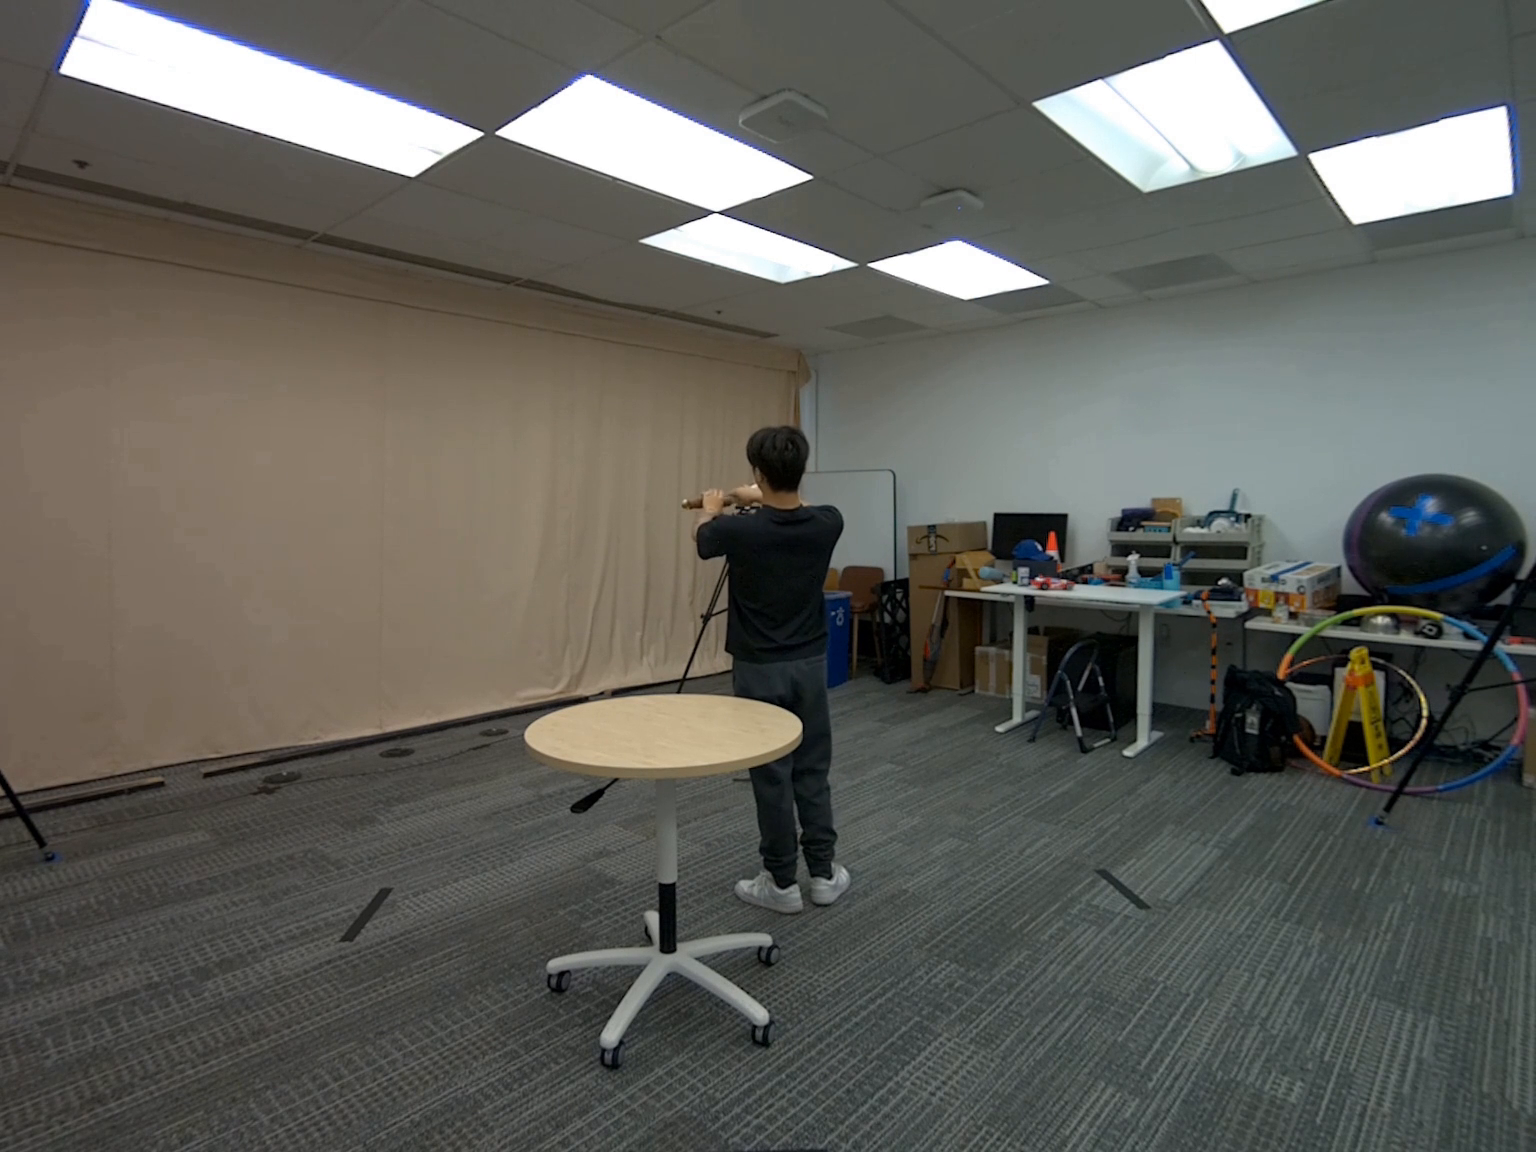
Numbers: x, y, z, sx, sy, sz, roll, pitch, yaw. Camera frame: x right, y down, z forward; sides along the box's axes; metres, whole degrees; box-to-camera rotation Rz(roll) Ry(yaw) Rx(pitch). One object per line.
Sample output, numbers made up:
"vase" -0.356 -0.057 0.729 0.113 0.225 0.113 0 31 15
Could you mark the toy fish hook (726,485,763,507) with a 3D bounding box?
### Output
"toy fish hook" -0.098 -0.260 3.415 0.500 0.223 0.049 -9 7 -13
